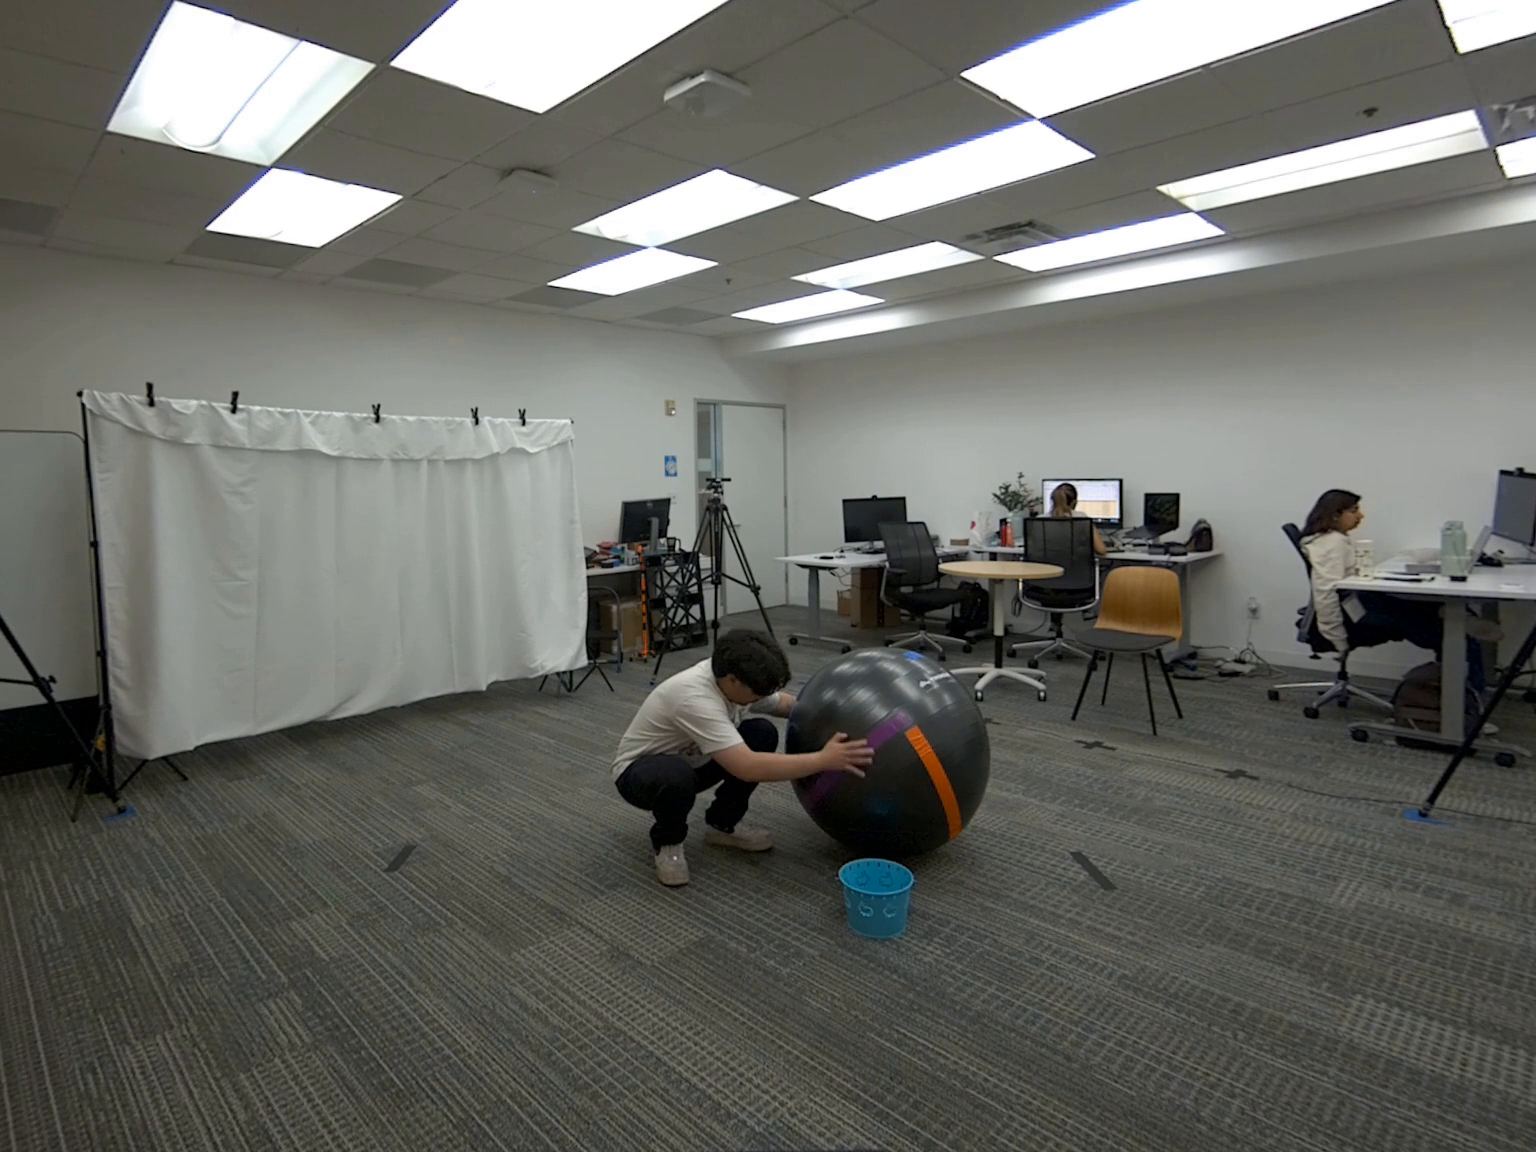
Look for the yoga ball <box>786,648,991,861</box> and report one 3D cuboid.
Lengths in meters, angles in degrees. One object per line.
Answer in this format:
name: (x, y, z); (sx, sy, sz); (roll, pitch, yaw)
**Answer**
yoga ball: (0.450, 0.653, 3.207); (0.757, 0.755, 0.762); (-1, 5, -2)
